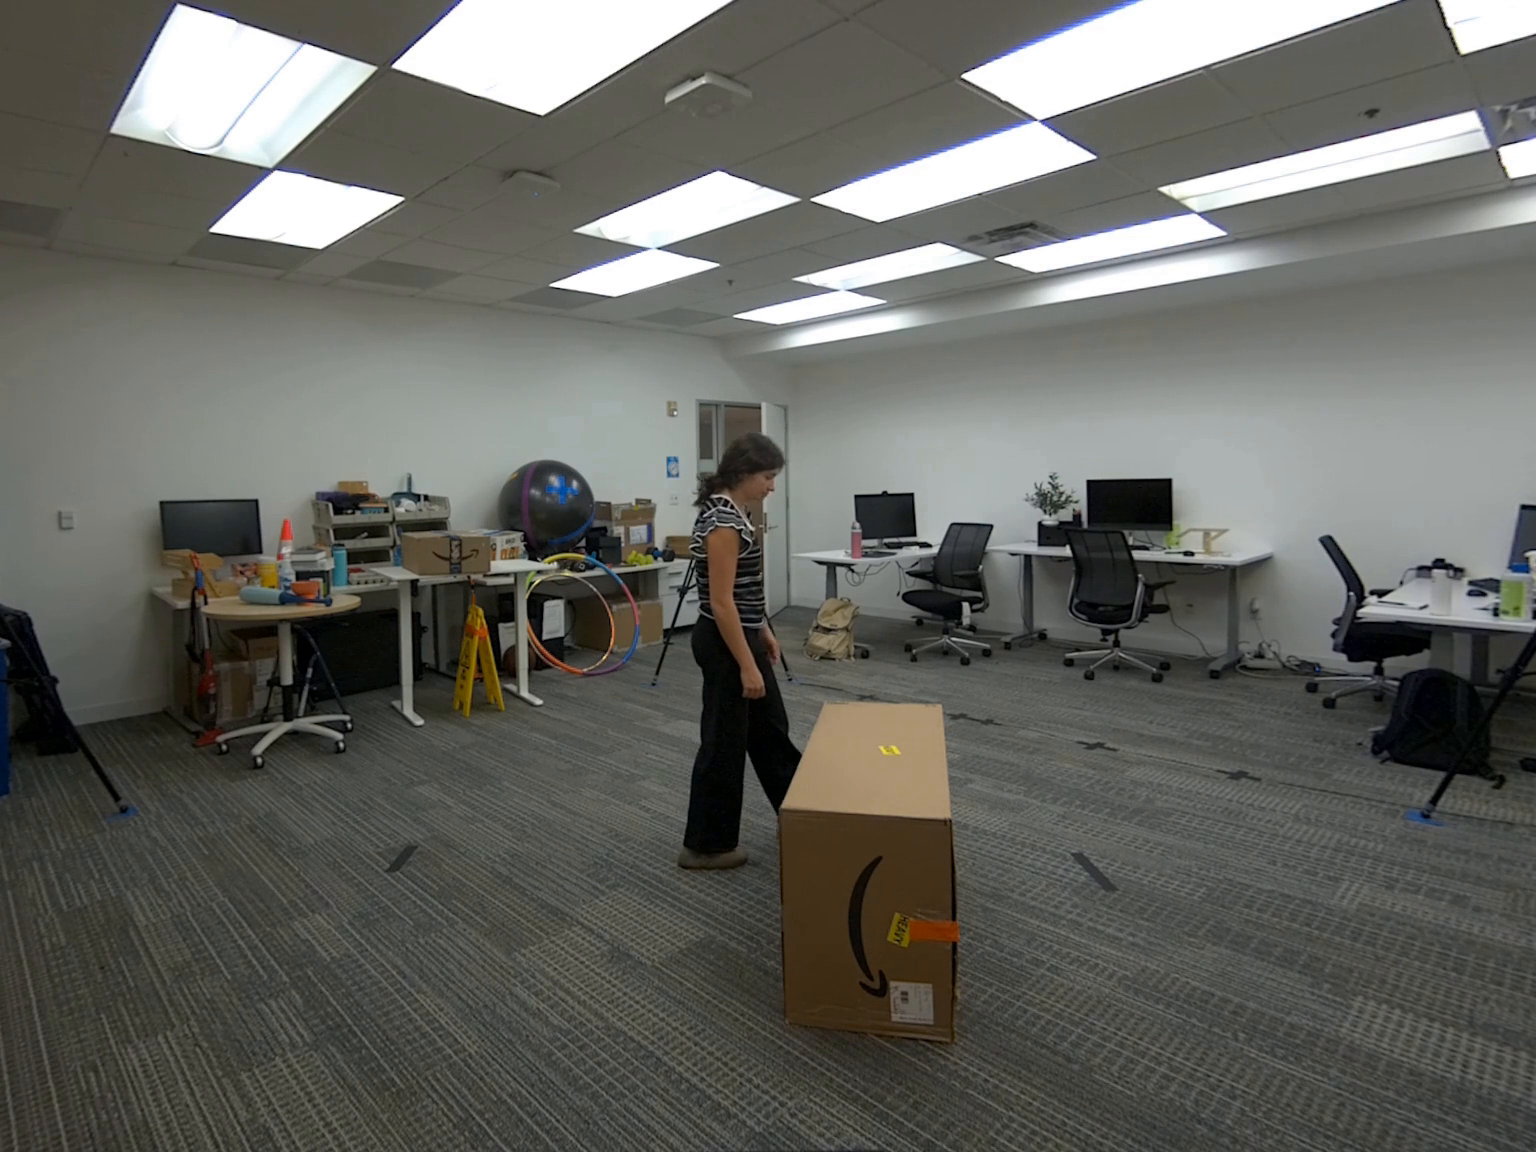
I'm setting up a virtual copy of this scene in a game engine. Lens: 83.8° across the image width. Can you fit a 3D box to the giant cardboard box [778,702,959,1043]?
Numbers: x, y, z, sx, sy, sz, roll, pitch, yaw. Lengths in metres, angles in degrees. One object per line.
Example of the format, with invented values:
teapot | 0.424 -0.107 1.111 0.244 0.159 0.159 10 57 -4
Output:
giant cardboard box | 0.340 0.803 2.612 0.431 0.575 1.019 0 6 11
